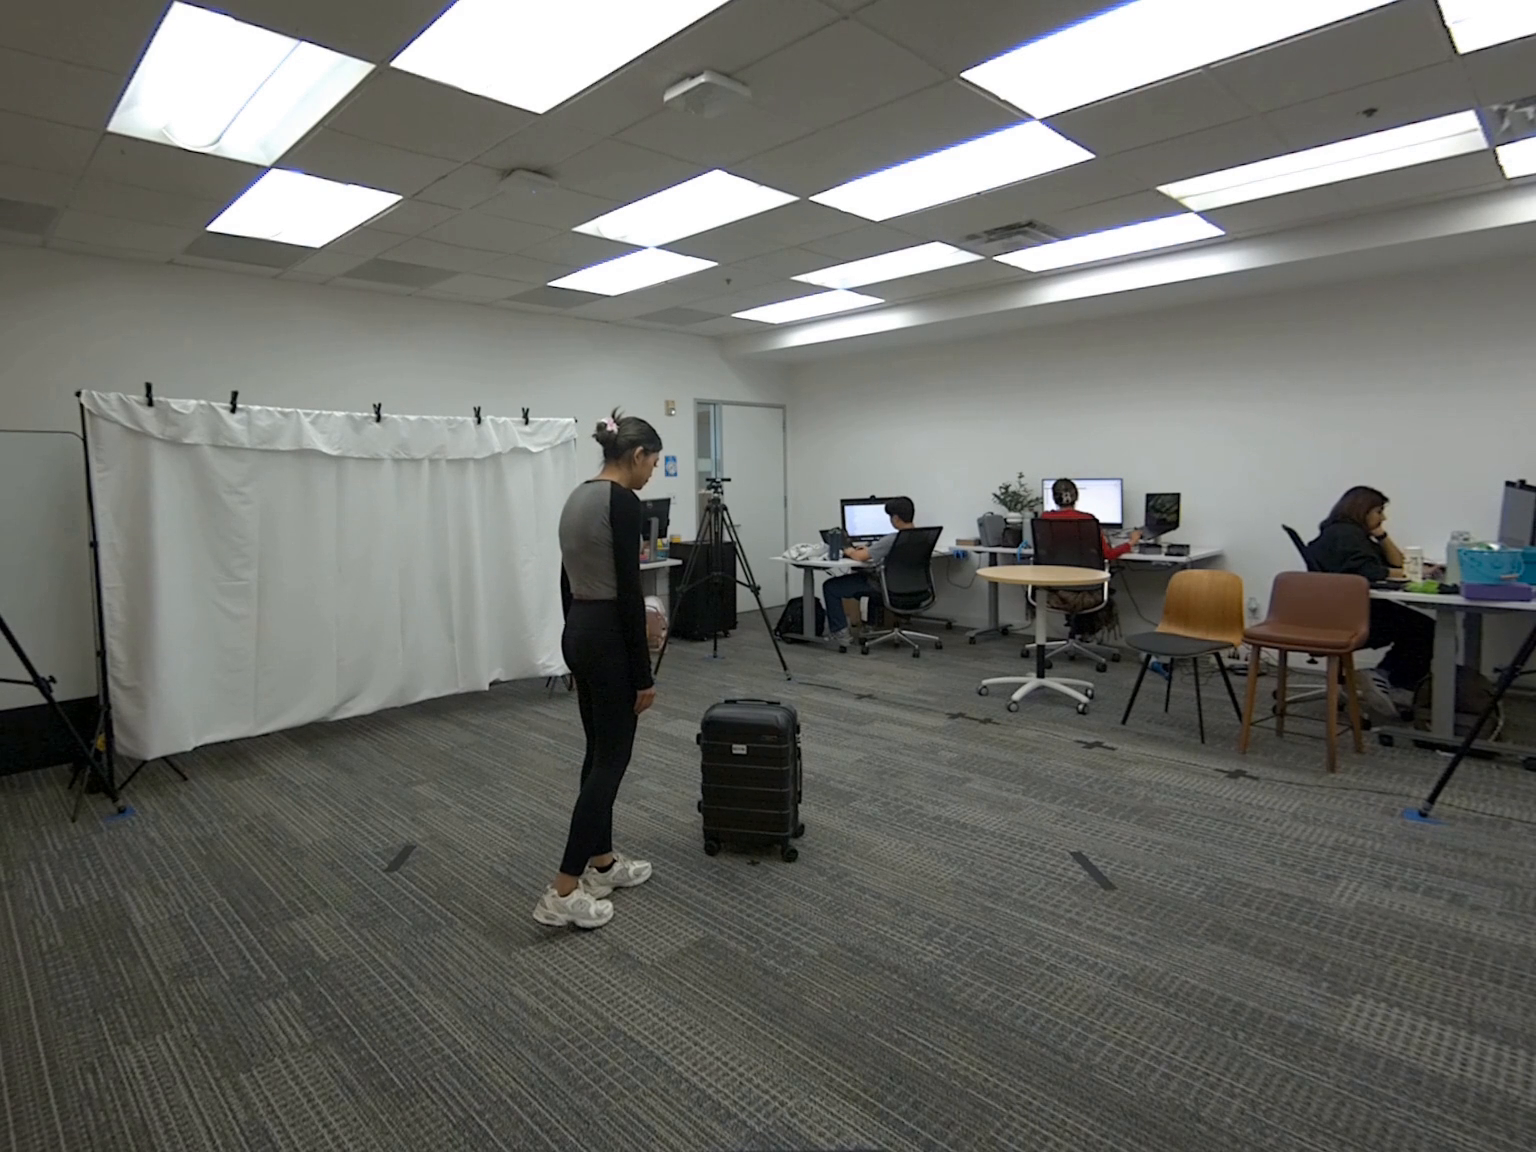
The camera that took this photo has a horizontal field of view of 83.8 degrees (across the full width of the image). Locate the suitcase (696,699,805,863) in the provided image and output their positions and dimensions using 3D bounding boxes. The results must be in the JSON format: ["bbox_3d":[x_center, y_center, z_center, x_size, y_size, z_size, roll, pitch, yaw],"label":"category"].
[{"bbox_3d":[-0.063,0.751,3.236,0.381,0.547,0.245,1,4,15],"label":"suitcase"}]
